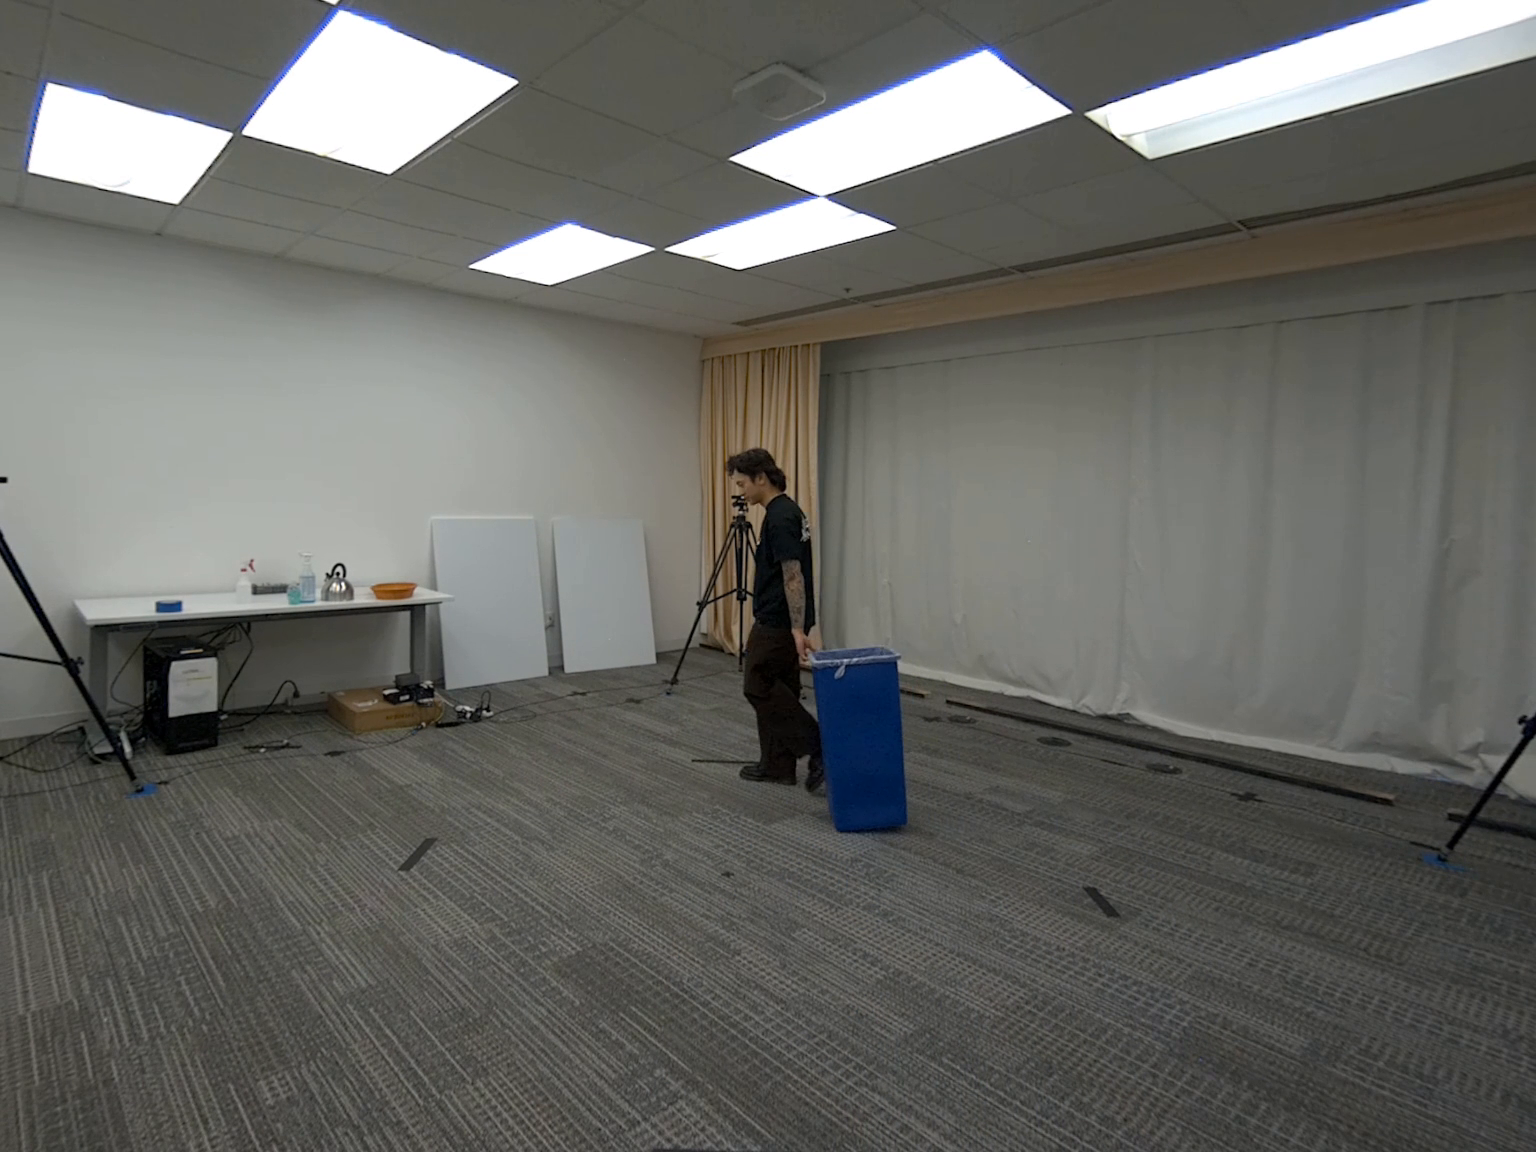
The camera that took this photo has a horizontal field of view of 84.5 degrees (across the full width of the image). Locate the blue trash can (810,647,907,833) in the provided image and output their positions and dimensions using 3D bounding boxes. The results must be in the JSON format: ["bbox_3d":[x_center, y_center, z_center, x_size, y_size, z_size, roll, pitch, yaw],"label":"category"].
[{"bbox_3d":[0.384,0.693,3.668,0.378,0.713,0.375,-4,1,-2],"label":"blue trash can"}]
